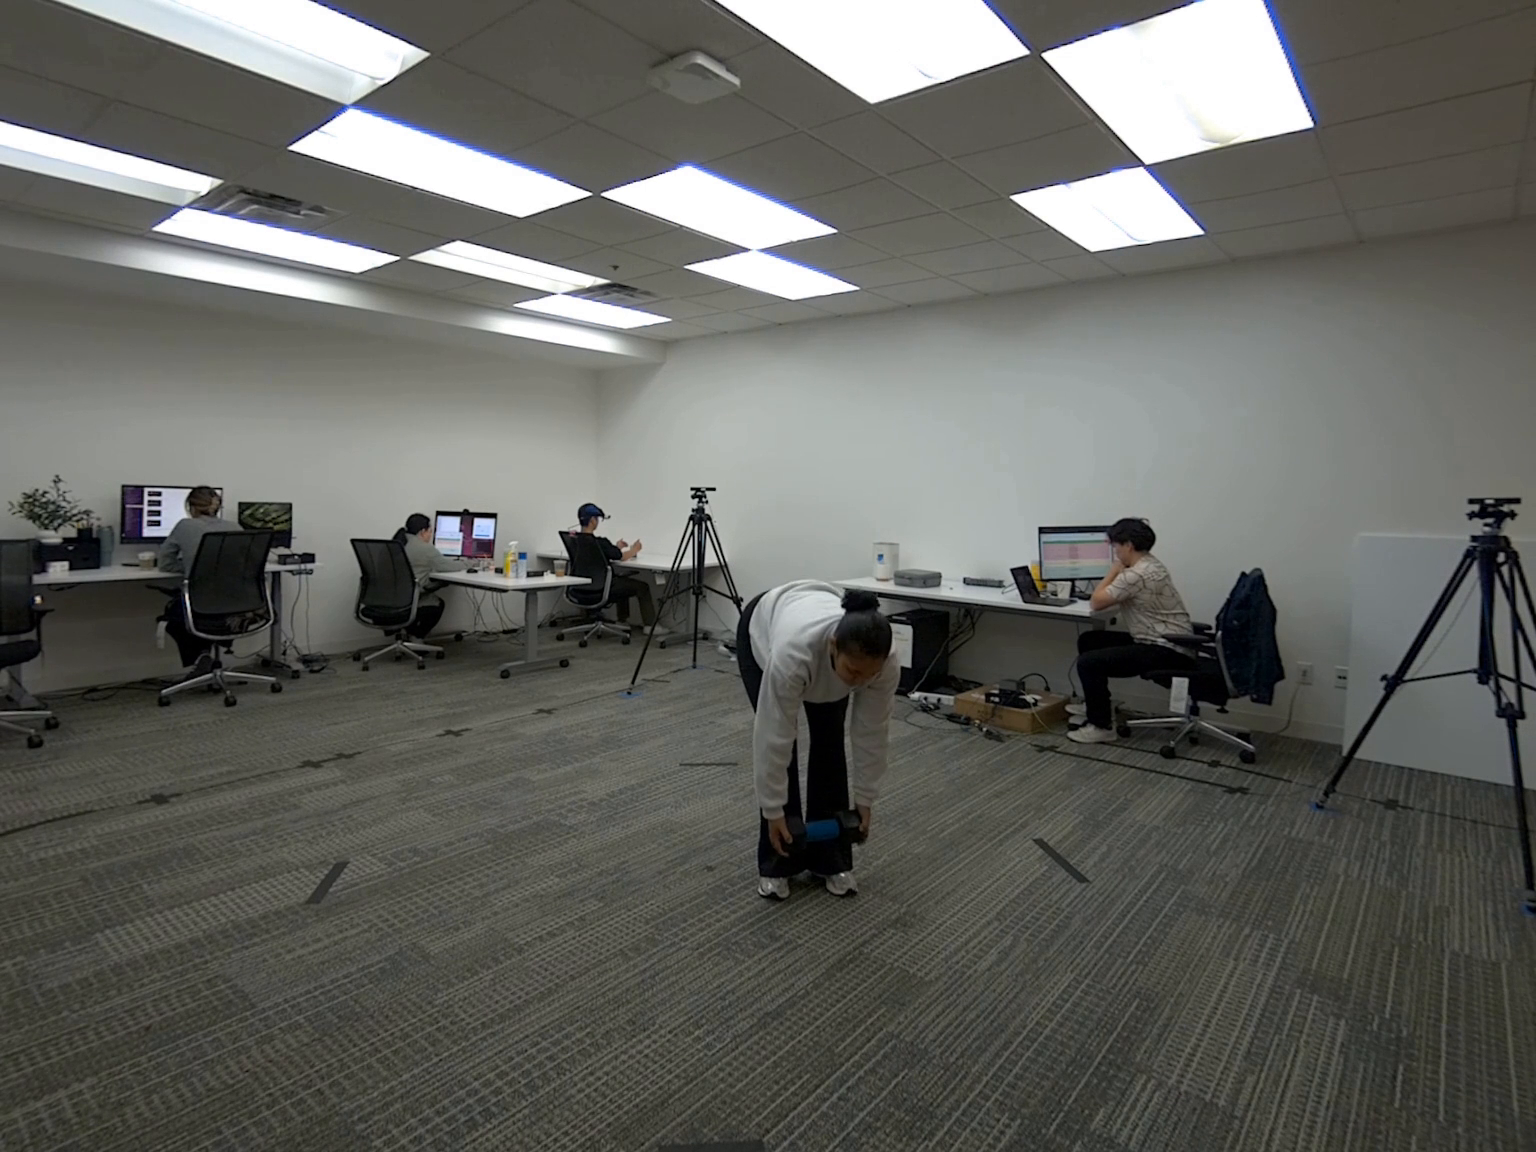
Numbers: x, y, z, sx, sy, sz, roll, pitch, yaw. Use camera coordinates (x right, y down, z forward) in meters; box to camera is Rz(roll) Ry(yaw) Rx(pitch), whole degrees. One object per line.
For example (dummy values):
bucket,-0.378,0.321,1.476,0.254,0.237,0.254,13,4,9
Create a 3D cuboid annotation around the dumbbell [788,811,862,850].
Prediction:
dumbbell,0.168,0.849,2.858,0.290,0.106,0.127,-3,48,-13
